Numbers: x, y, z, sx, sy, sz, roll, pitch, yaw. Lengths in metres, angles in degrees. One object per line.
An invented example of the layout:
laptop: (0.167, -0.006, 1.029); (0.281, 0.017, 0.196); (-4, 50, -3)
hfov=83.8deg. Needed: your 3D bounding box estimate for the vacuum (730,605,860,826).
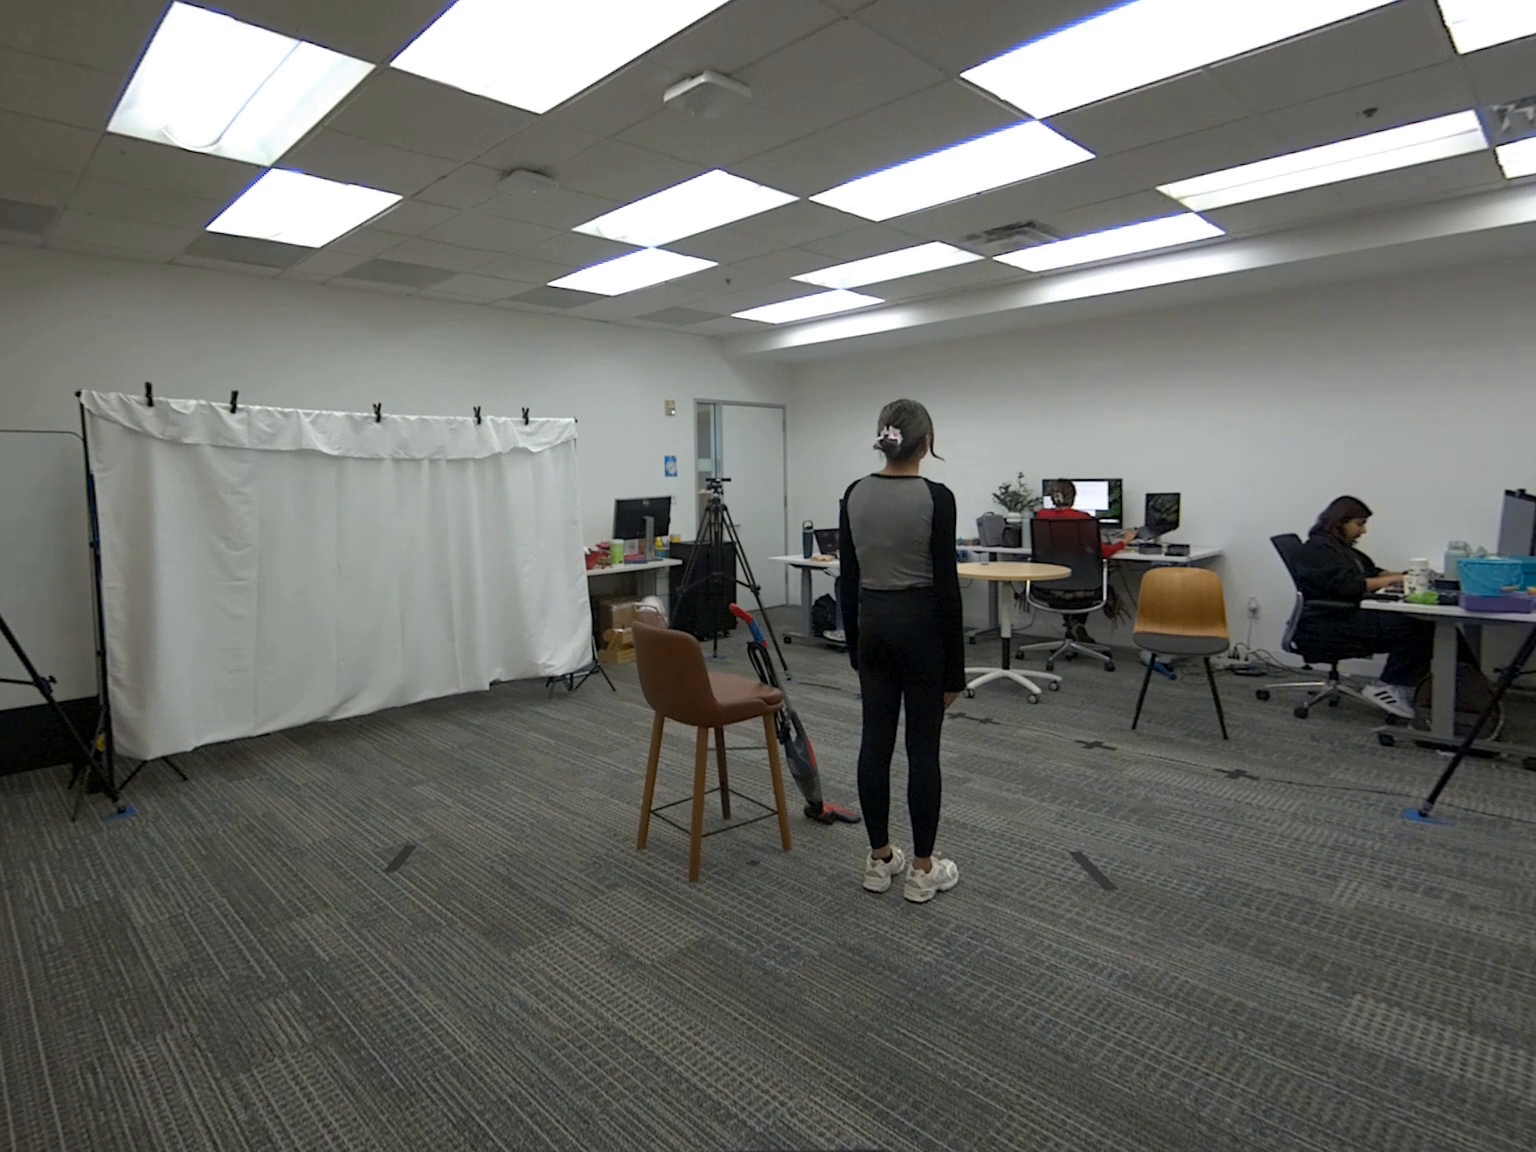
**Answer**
vacuum: (0.067, 0.547, 3.333); (0.260, 1.022, 0.143); (3, 34, 45)
